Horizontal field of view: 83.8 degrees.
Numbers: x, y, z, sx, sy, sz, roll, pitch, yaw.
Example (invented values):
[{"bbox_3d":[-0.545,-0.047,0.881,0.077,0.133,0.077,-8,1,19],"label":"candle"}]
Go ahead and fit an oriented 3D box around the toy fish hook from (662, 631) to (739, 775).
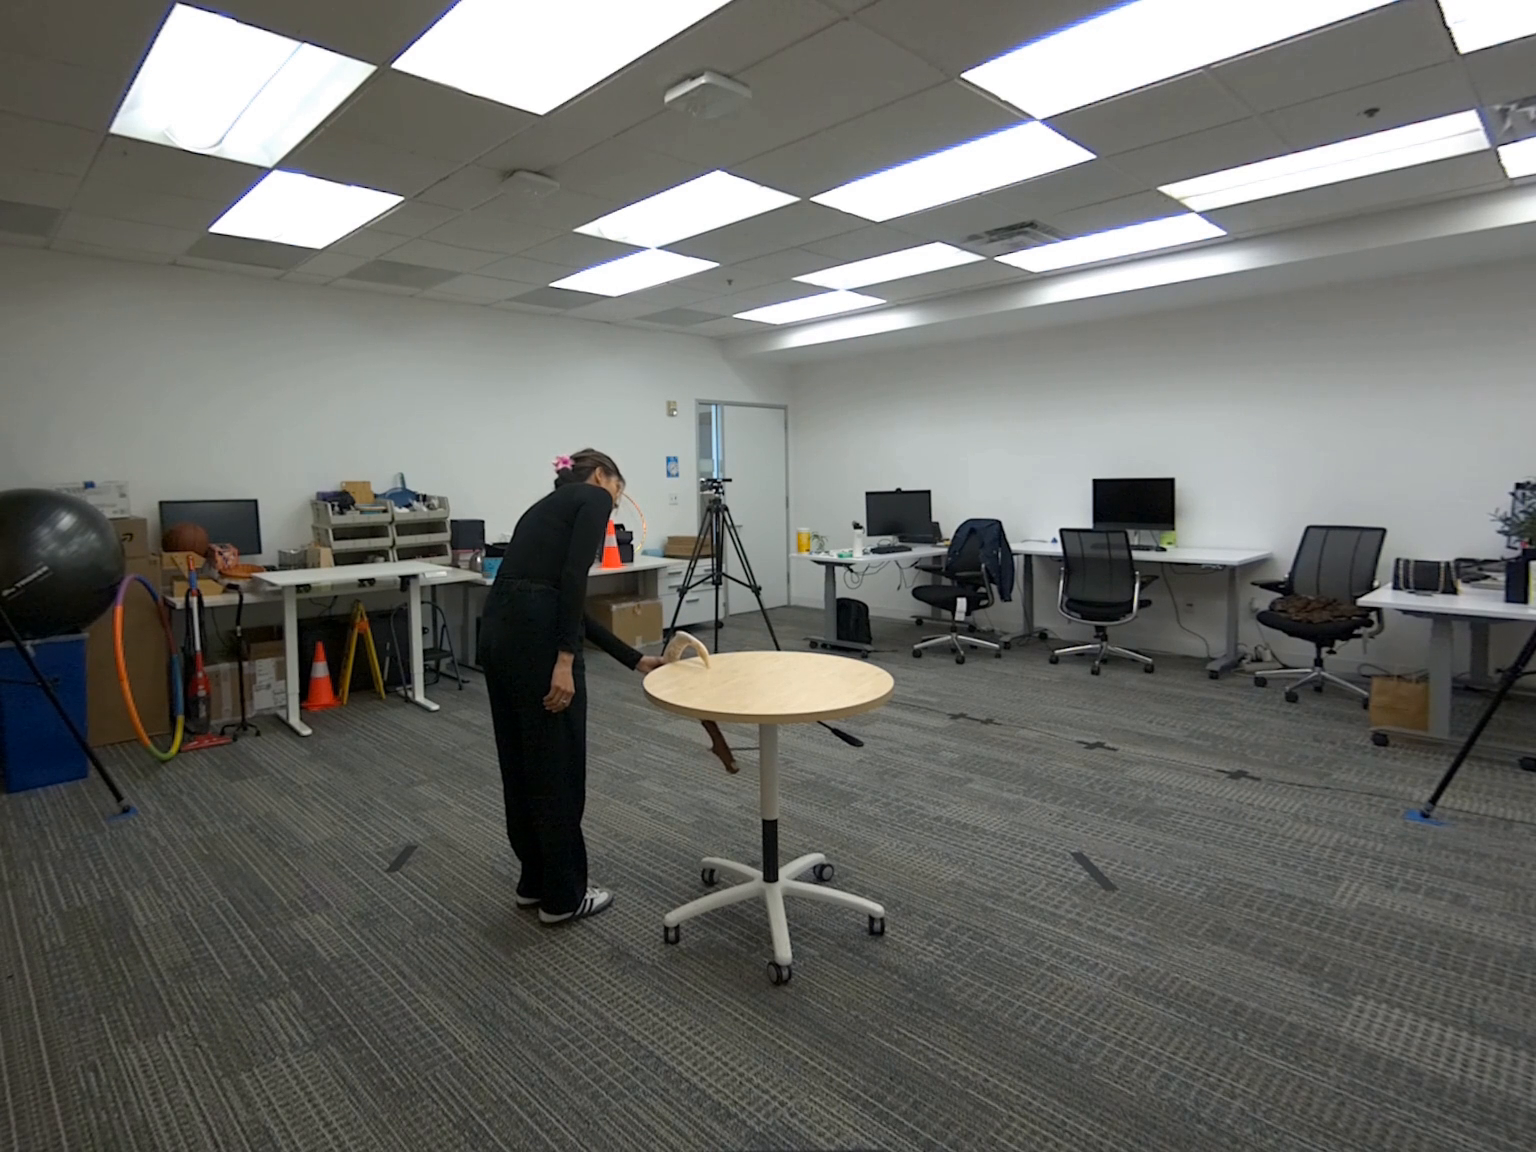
[{"bbox_3d":[-0.210,0.398,2.782,0.047,0.222,0.525,-2,45,-40],"label":"toy fish hook"}]
